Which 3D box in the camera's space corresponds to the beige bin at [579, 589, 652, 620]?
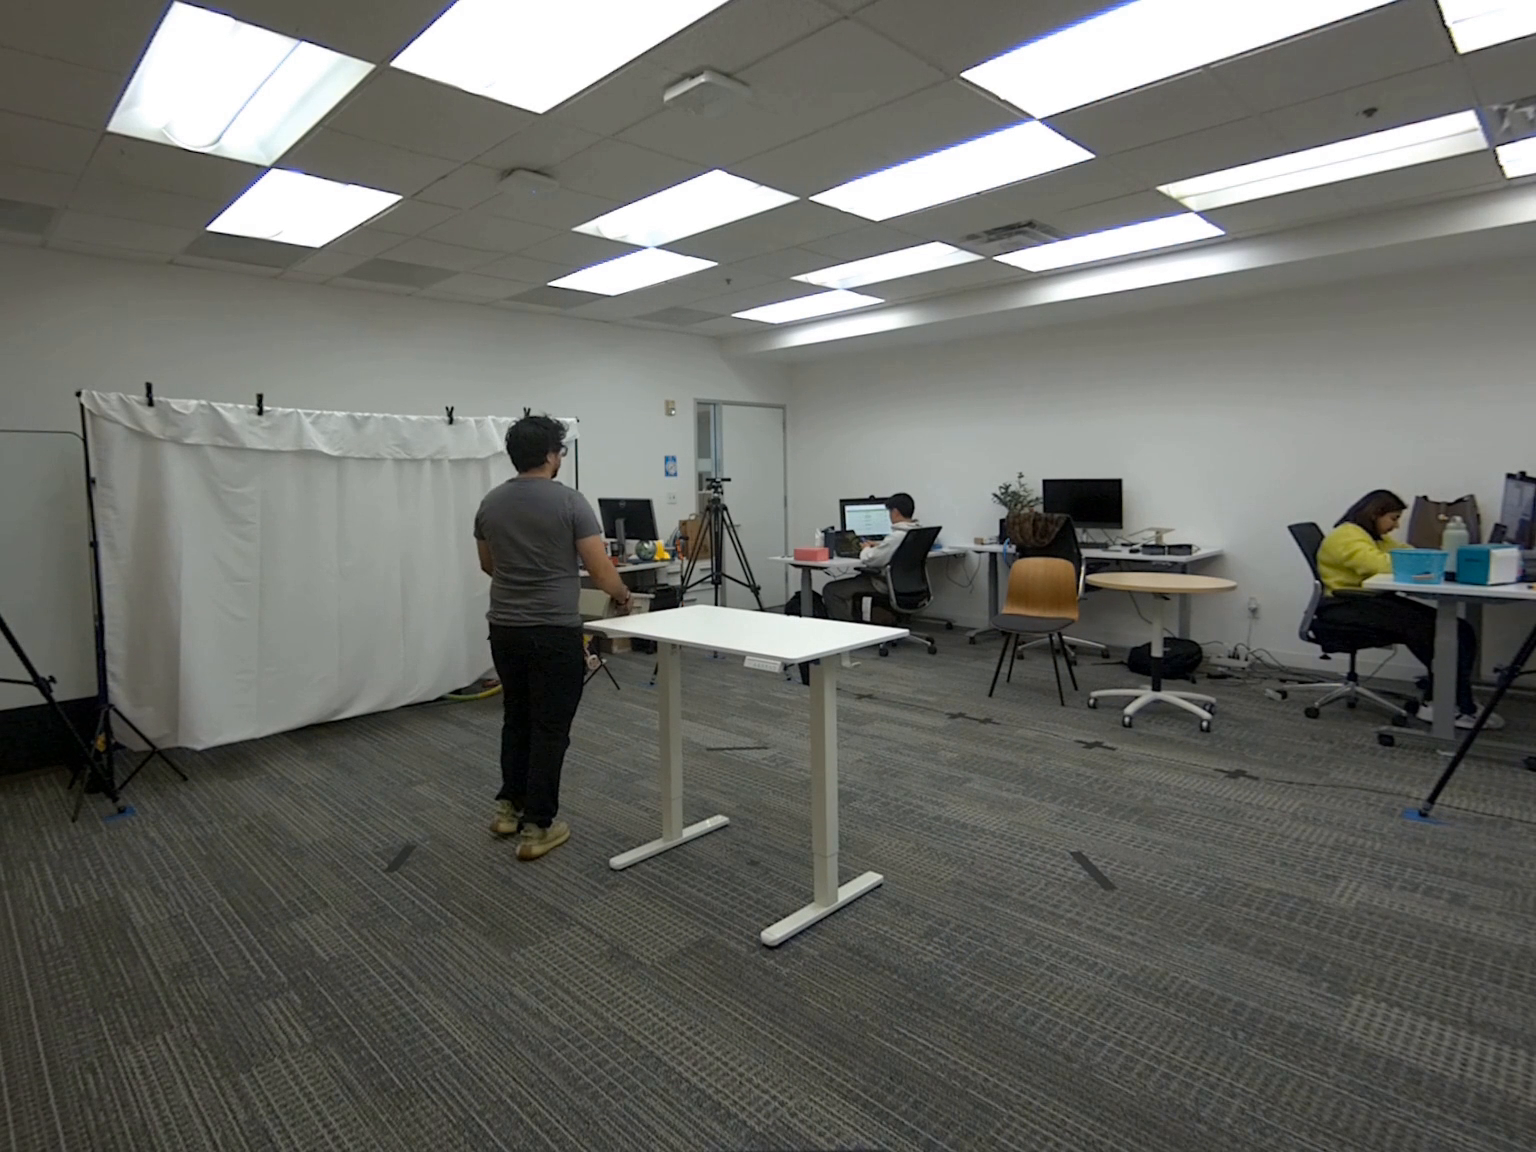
[{"bbox_3d":[-0.758,0.155,3.635,0.432,0.190,0.367,3,-3,24],"label":"beige bin"}]
